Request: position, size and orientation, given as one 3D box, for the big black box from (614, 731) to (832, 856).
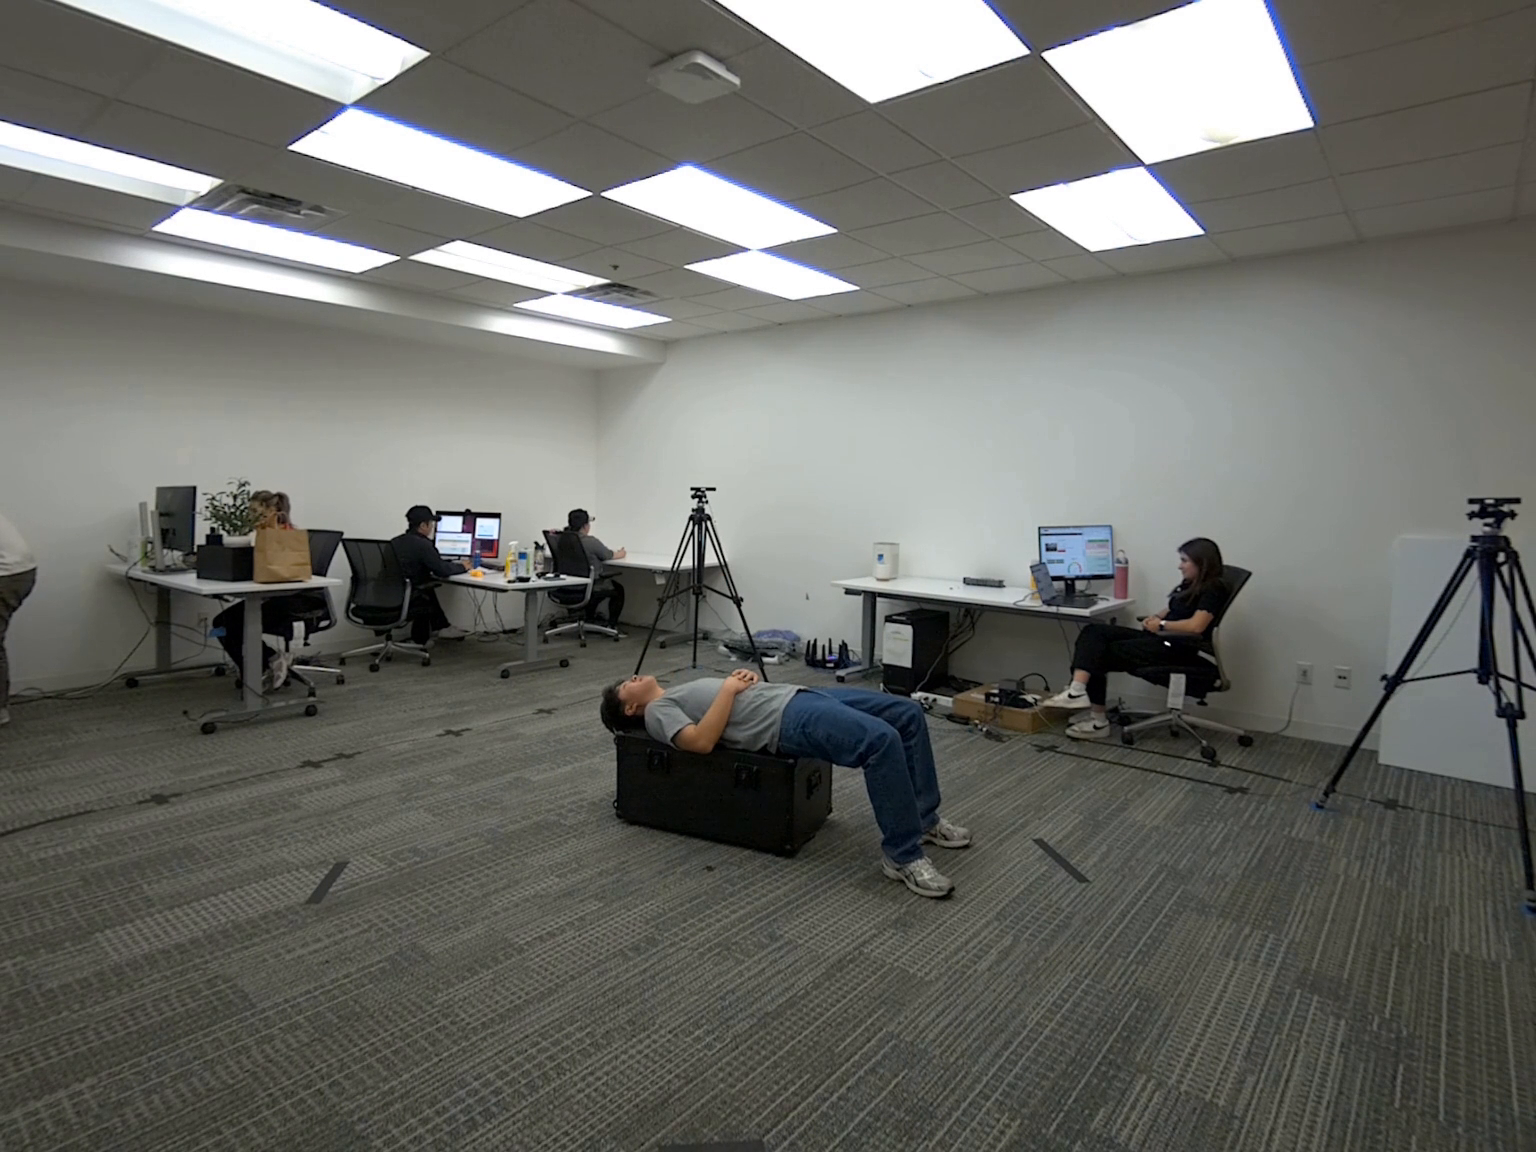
[{"bbox_3d":[-0.214,0.838,3.573,0.883,0.394,0.510,3,6,24],"label":"big black box"}]
